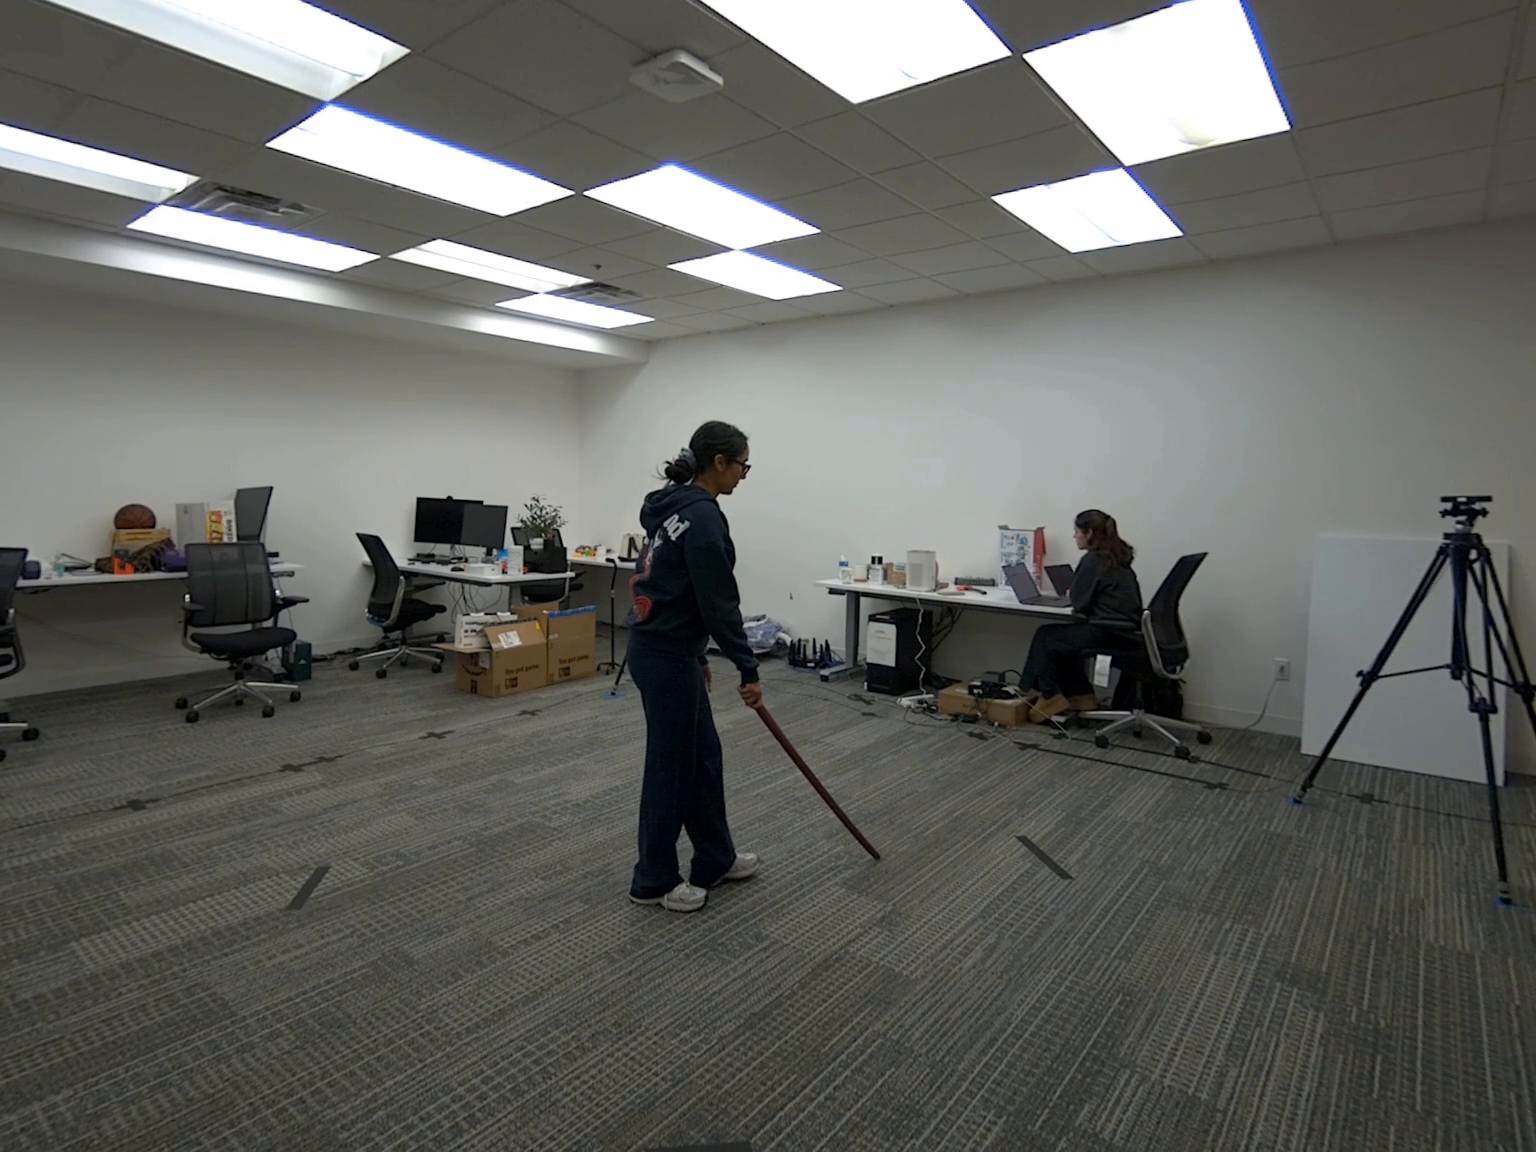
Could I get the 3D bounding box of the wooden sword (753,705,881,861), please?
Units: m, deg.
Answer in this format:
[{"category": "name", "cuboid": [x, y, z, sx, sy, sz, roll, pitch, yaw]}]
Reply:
[{"category": "wooden sword", "cuboid": [0.151, 0.719, 2.985, 0.024, 0.988, 0.053, -45, 31, -14]}]
